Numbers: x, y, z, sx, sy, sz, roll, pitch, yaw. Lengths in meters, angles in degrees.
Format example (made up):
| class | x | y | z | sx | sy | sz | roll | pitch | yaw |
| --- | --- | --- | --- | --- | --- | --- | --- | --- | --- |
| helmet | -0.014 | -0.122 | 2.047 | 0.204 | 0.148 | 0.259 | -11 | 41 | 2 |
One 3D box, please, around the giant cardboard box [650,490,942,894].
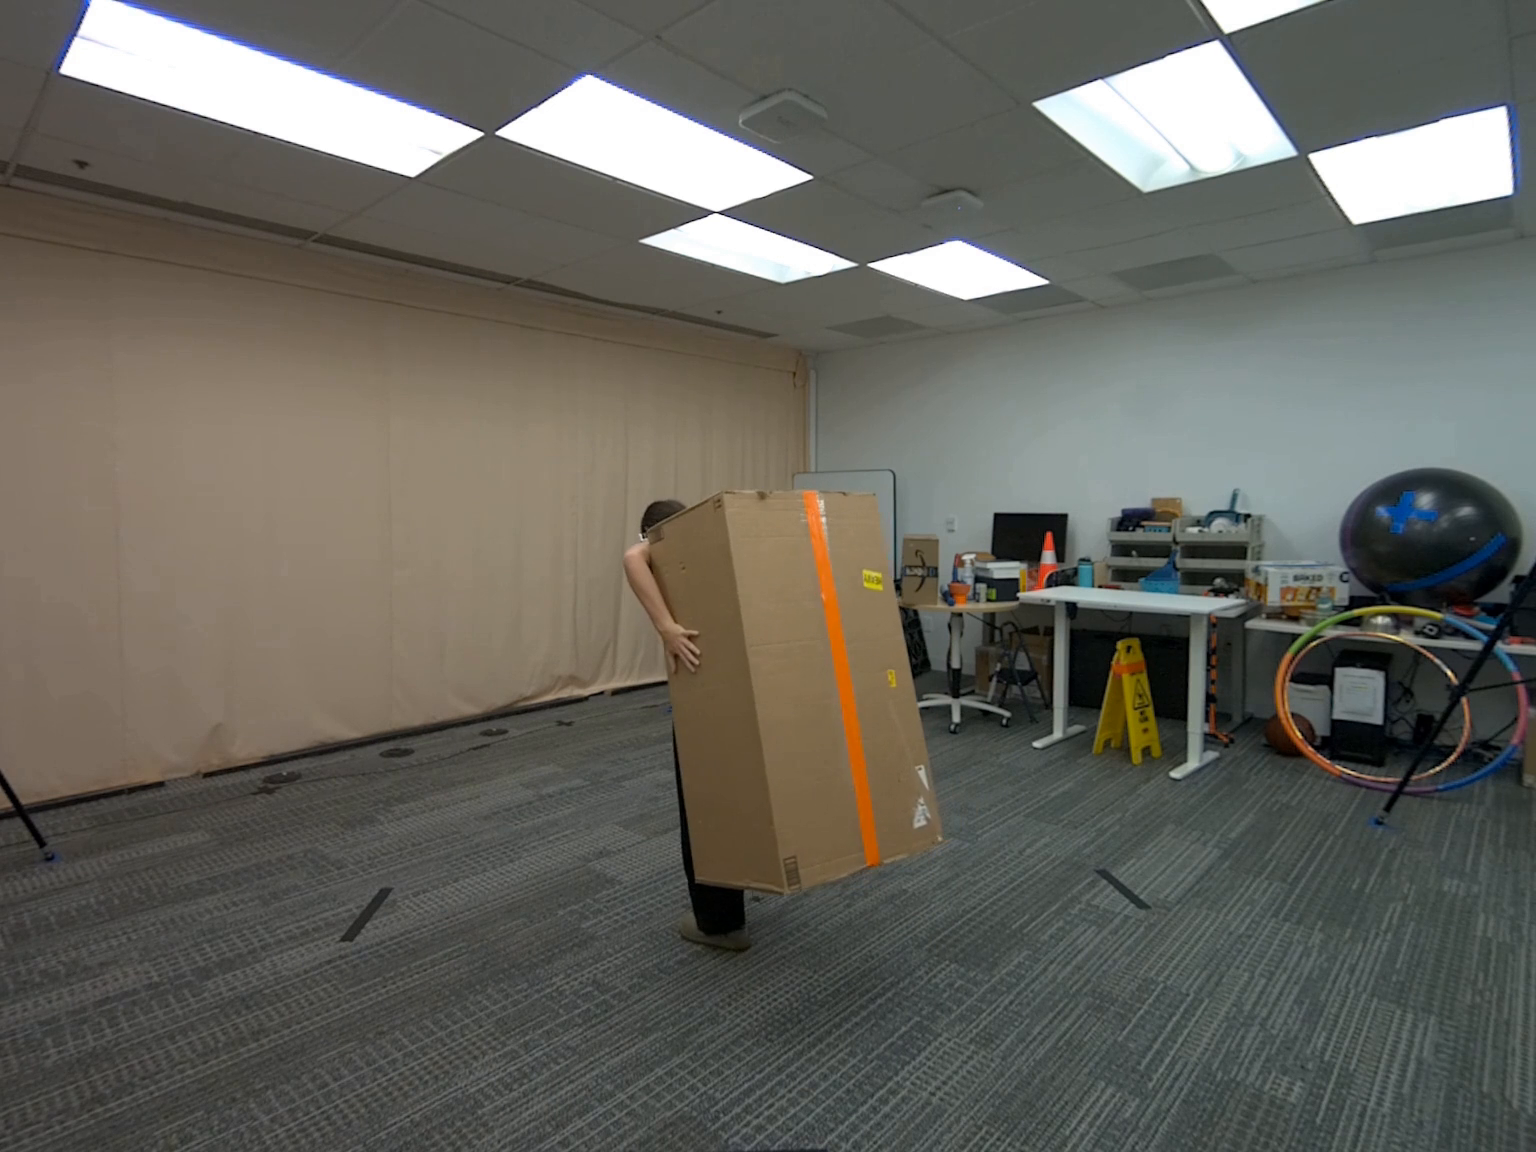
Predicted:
| class | x | y | z | sx | sy | sz | roll | pitch | yaw |
| --- | --- | --- | --- | --- | --- | --- | --- | --- | --- |
| giant cardboard box | 0.074 | 0.310 | 2.447 | 0.560 | 1.034 | 0.435 | -1 | -13 | -37 |
